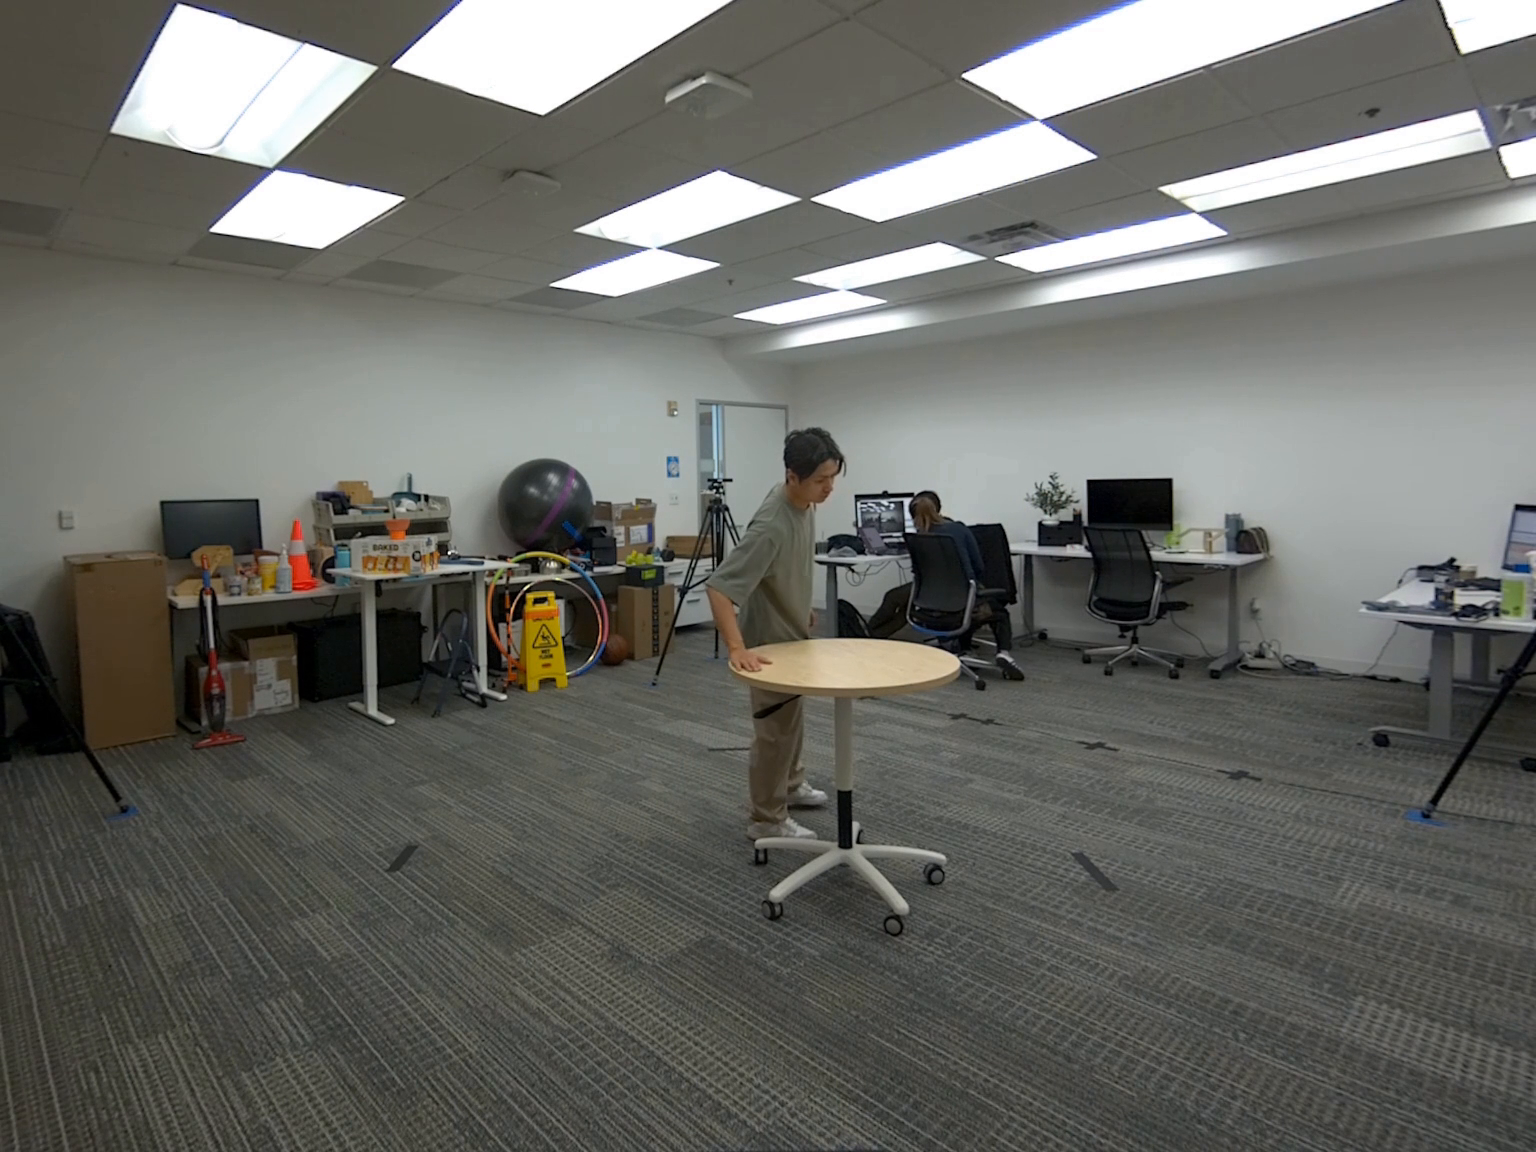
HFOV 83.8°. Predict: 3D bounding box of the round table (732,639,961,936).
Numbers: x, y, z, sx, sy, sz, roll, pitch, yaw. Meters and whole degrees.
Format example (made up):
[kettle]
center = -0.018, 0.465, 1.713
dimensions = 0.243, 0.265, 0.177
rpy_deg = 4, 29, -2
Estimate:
[round table]
center = 0.268, 0.678, 2.888
dimensions = 0.763, 0.791, 0.768
rpy_deg = -1, 5, -2
